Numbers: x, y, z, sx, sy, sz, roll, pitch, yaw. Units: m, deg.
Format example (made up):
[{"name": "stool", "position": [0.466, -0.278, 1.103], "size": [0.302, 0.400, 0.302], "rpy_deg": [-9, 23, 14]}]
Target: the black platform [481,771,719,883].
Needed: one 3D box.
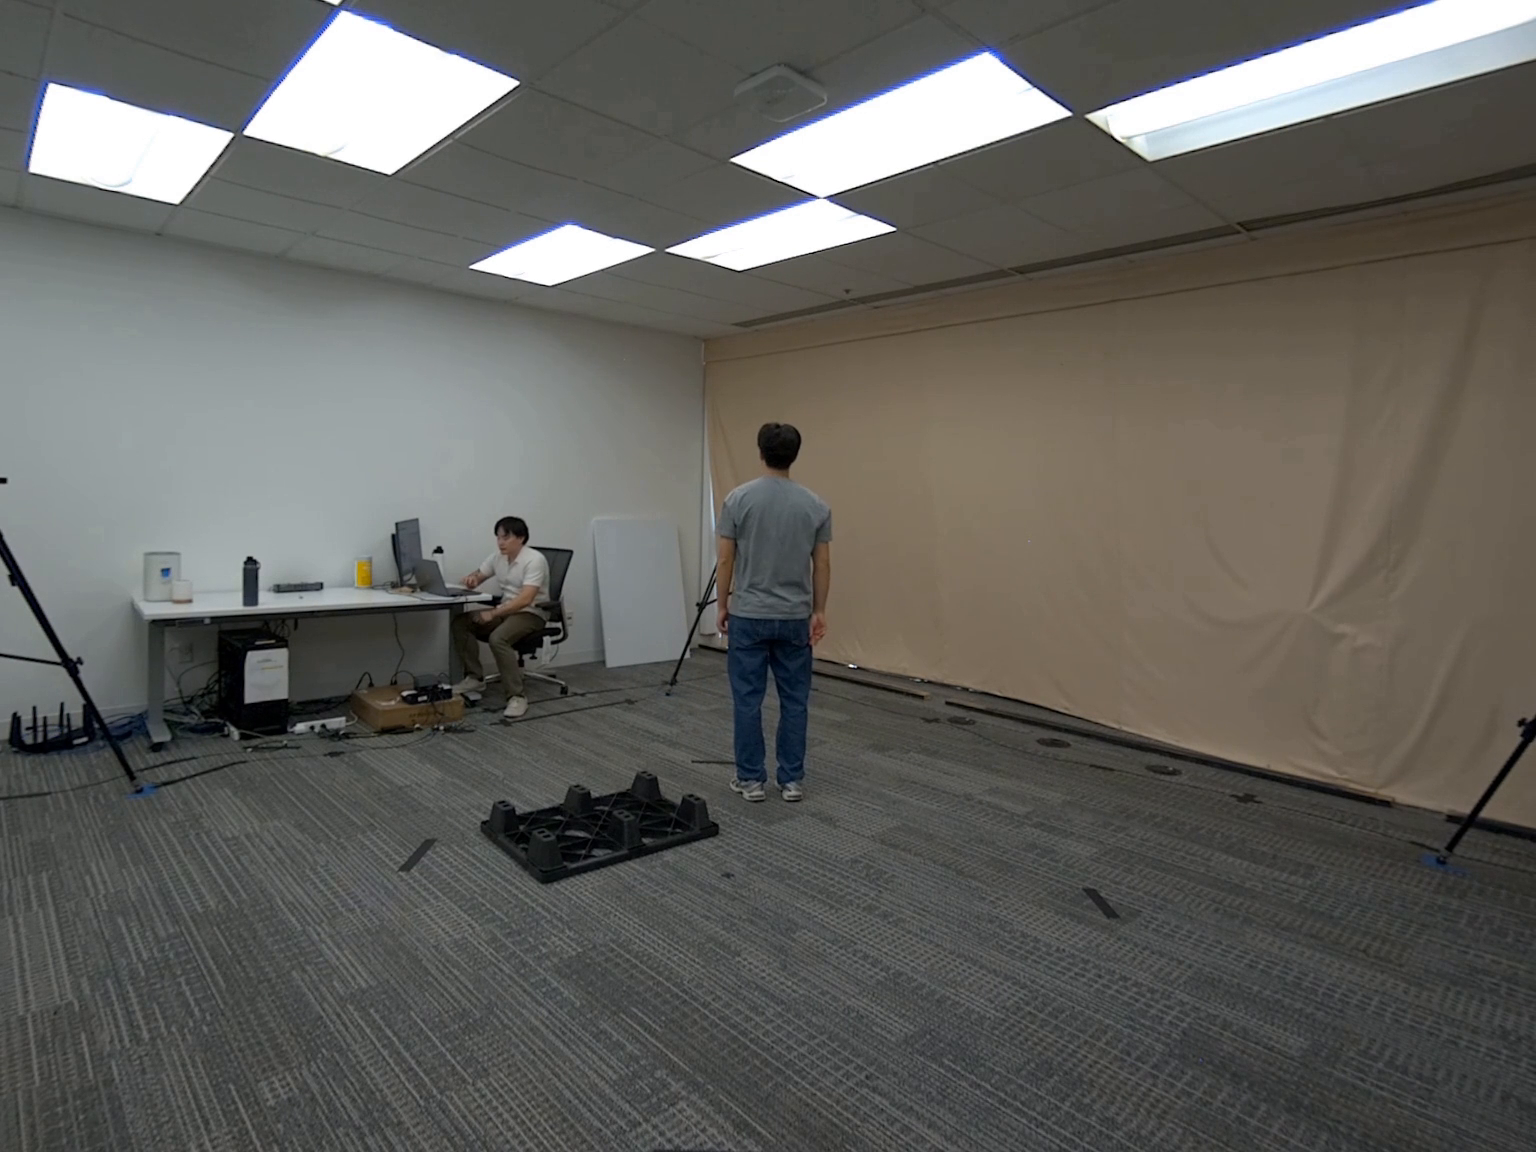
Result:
[{"name": "black platform", "position": [-0.697, 0.995, 3.463], "size": [0.787, 0.143, 0.620], "rpy_deg": [-3, 6, -39]}]
